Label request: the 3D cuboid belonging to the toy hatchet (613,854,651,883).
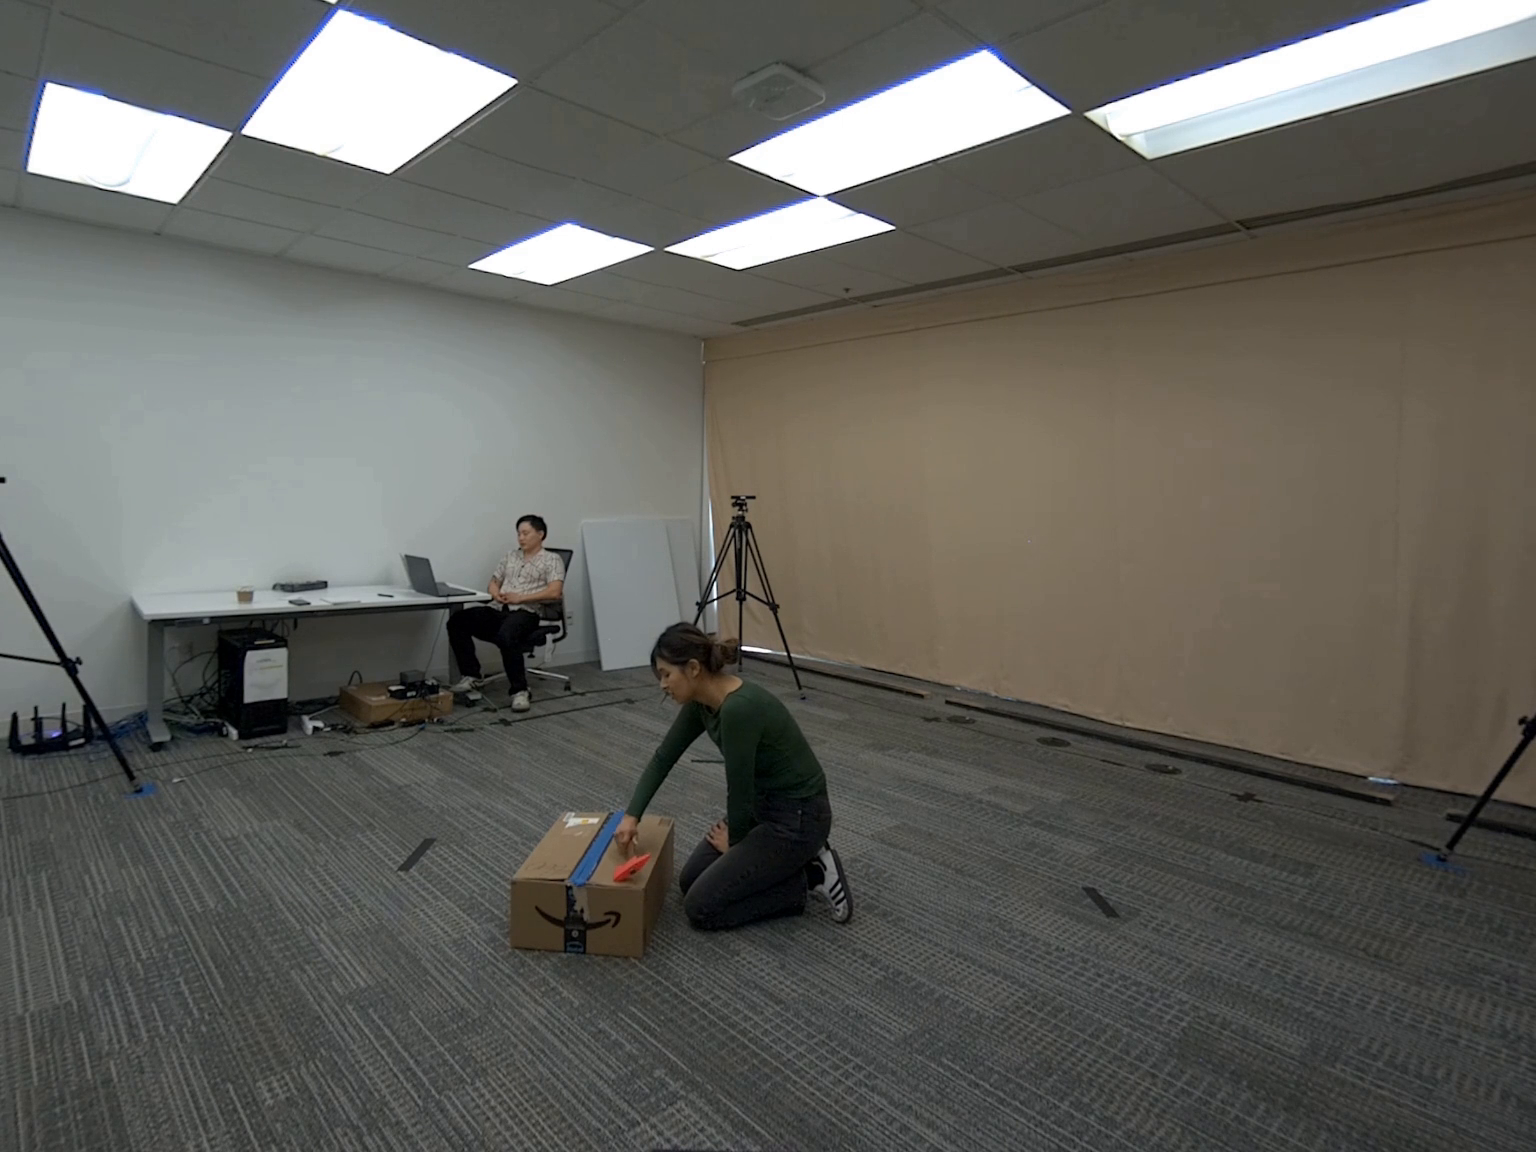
[{"bbox_3d":[-0.475,0.892,2.651,0.130,0.029,0.274,-38,15,-21],"label":"toy hatchet"}]
